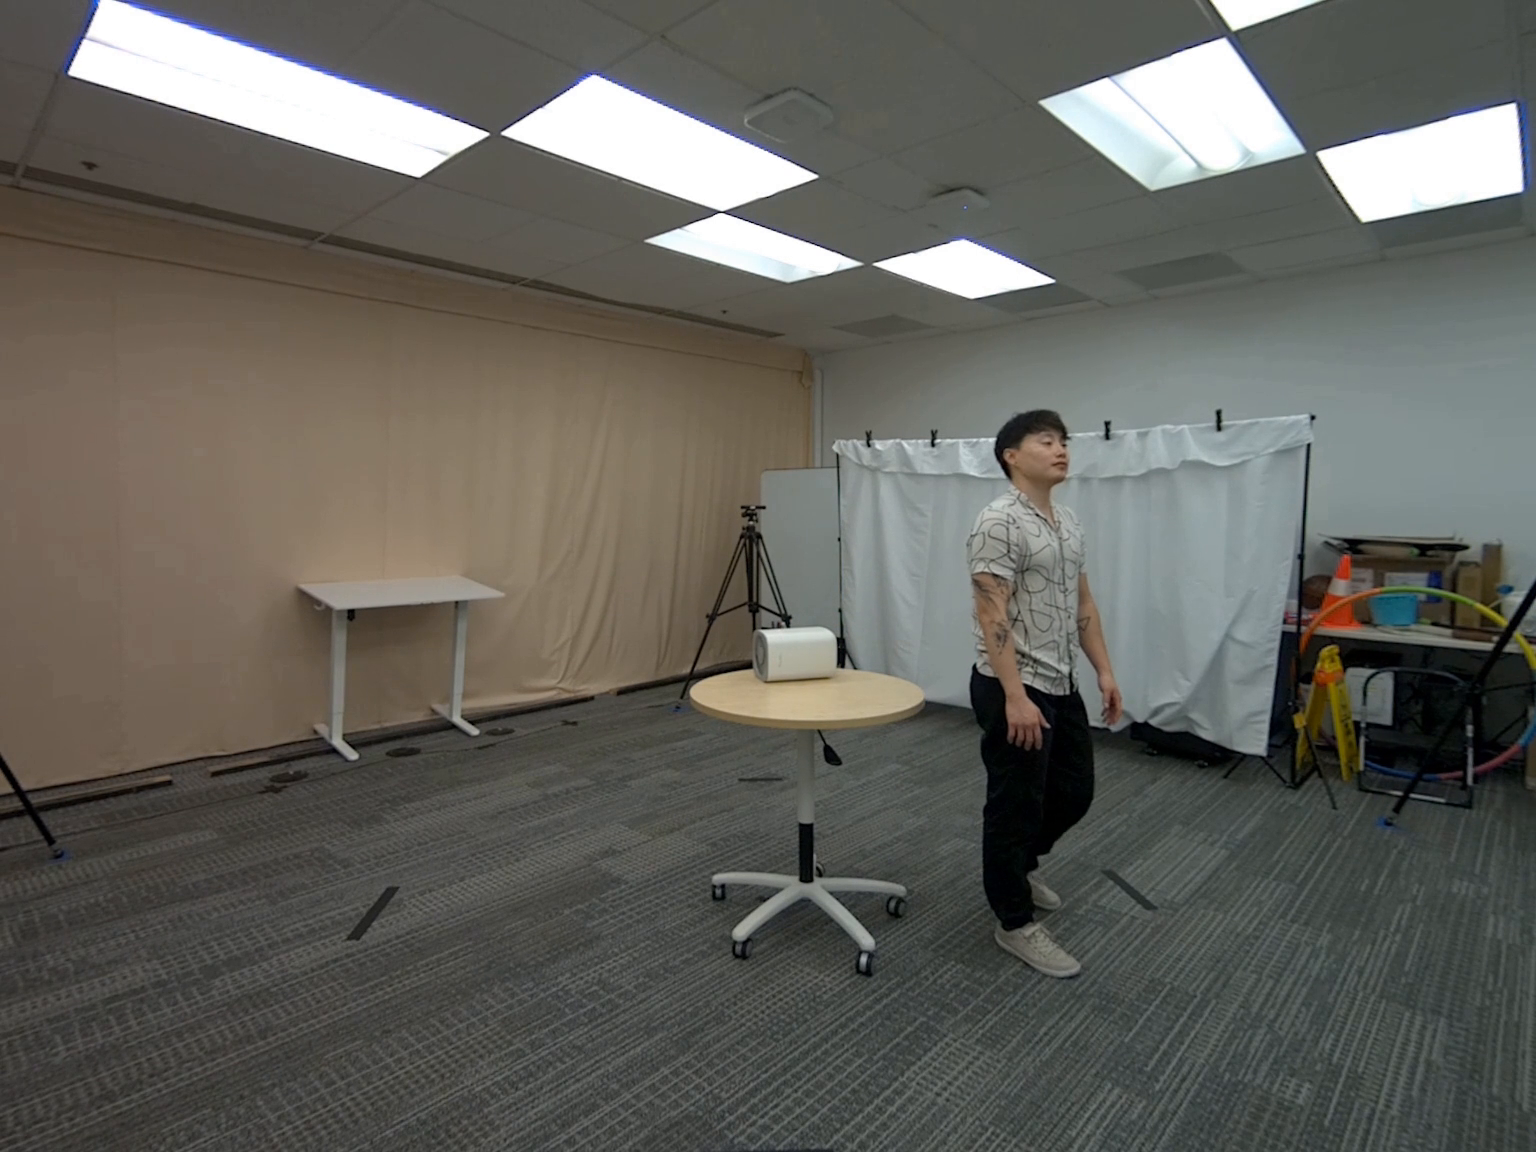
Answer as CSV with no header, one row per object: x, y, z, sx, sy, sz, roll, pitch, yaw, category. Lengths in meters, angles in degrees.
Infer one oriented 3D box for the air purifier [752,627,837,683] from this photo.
0.100,0.272,2.973,0.261,0.170,0.175,-2,4,-16,air purifier
